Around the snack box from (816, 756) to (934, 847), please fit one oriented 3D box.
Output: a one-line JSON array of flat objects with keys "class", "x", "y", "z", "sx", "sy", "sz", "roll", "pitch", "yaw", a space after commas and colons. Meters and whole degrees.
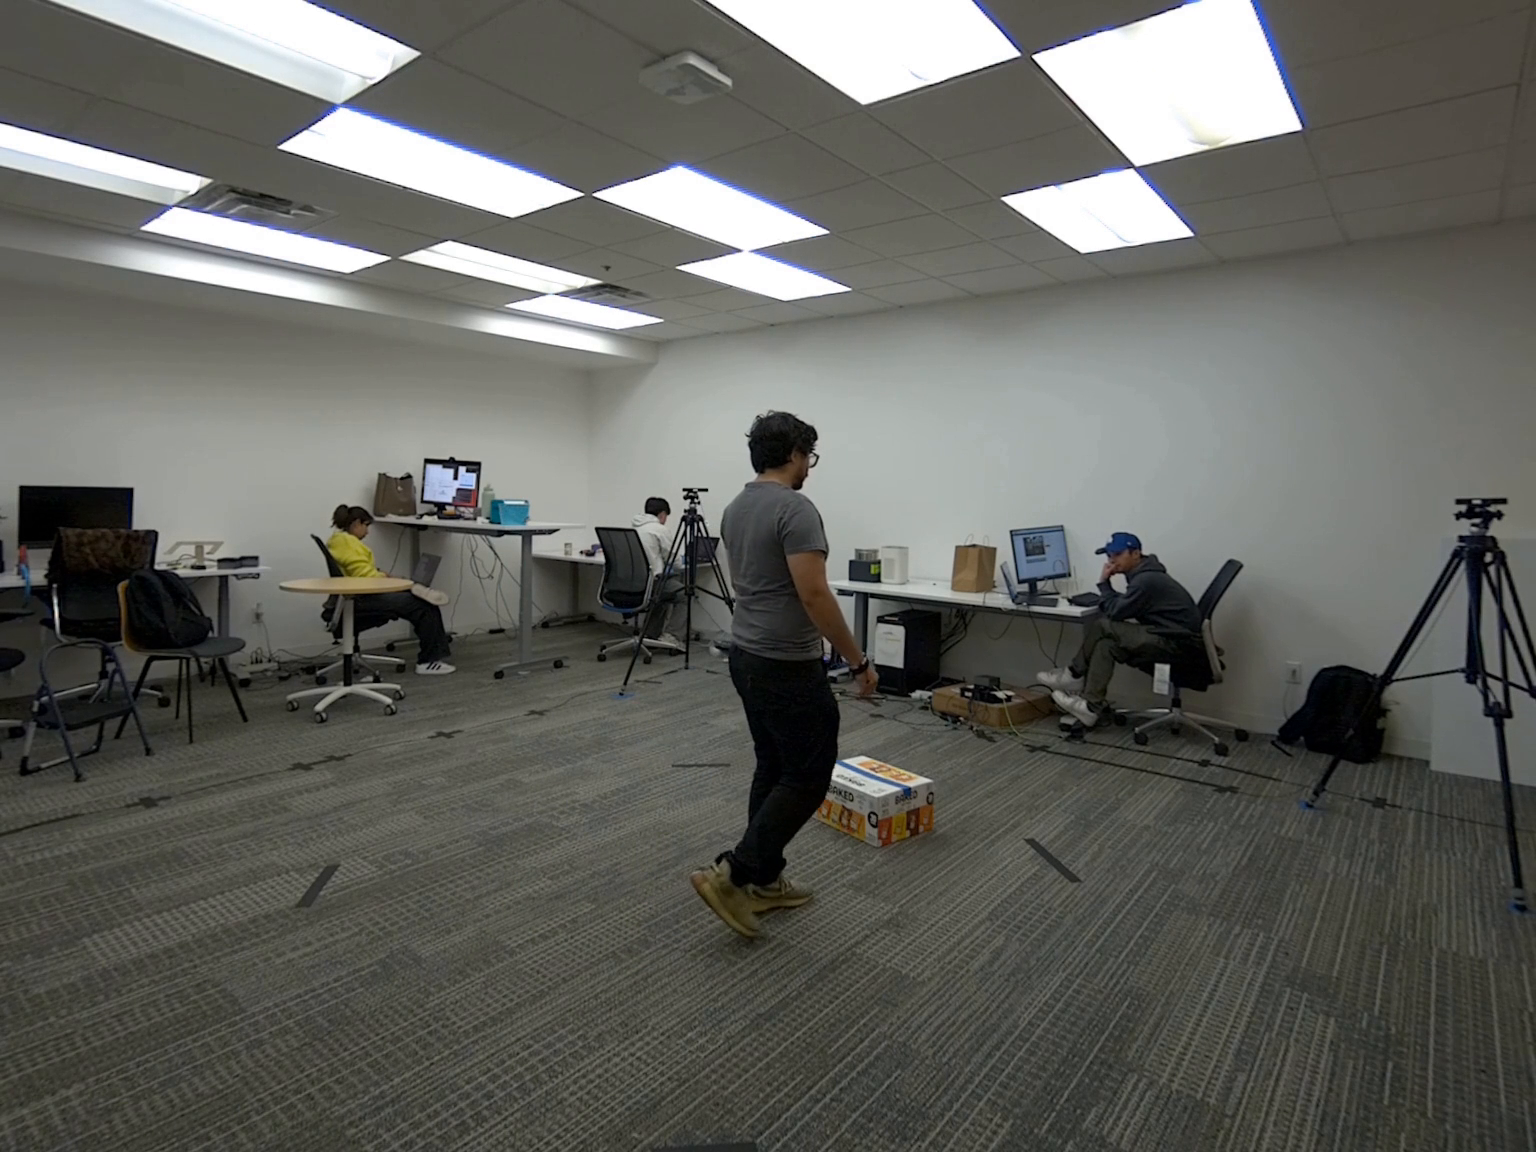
[{"class": "snack box", "x": 0.420, "y": 0.934, "z": 3.587, "sx": 0.330, "sy": 0.205, "sz": 0.419, "roll": -2, "pitch": 7, "yaw": -39}]
